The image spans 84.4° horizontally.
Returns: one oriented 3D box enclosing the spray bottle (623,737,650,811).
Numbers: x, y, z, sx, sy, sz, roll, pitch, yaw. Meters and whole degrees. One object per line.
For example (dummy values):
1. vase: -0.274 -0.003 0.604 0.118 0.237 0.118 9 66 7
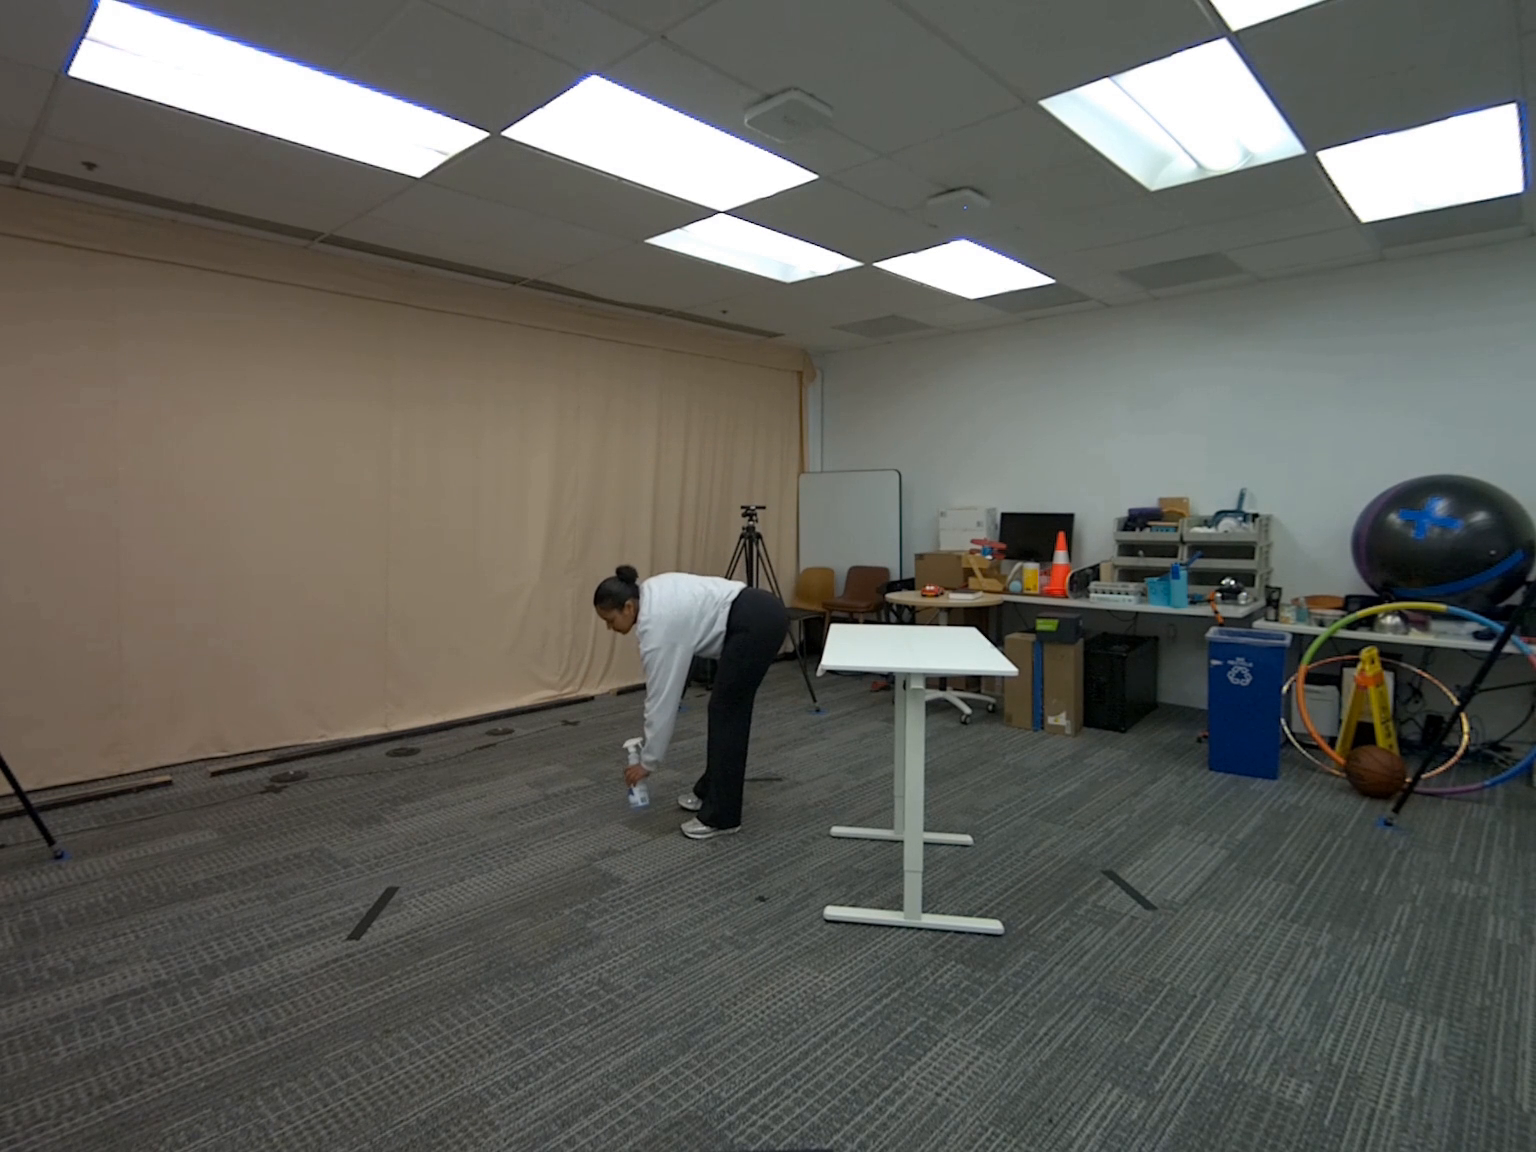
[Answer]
1. spray bottle: -0.567 0.863 3.667 0.092 0.300 0.084 -15 -14 28
